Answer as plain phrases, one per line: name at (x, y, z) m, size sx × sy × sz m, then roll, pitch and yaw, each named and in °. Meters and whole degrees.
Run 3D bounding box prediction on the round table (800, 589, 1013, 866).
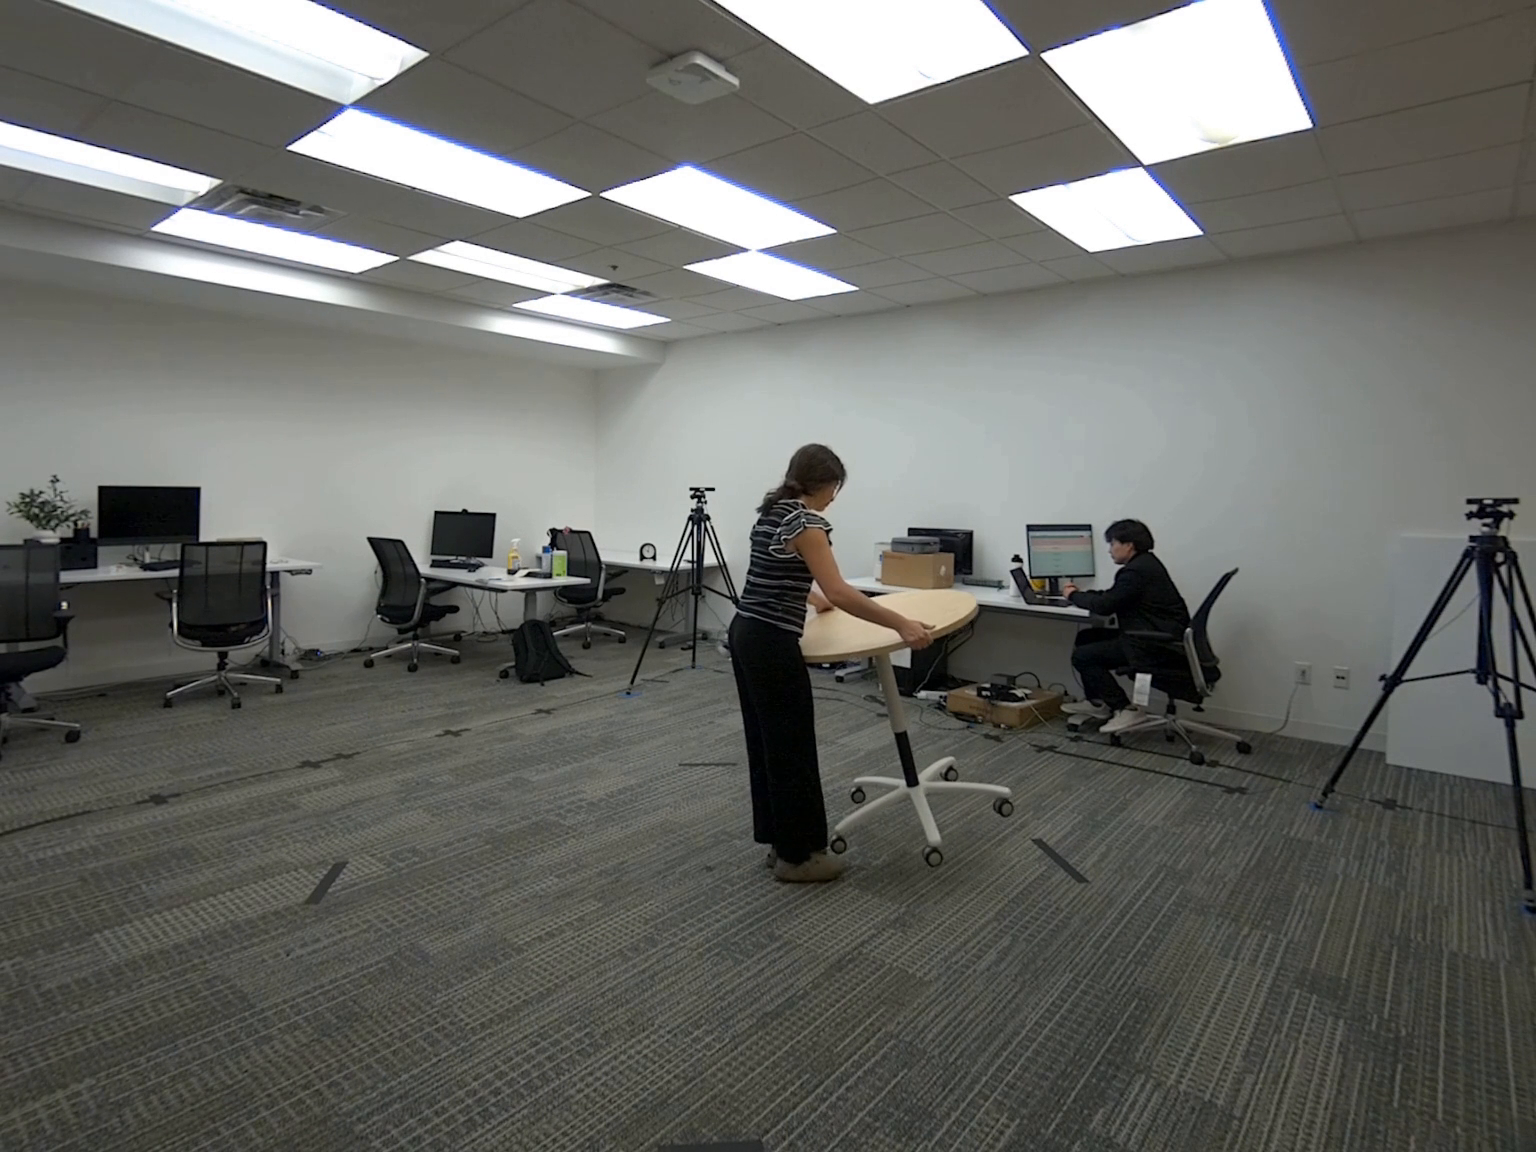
round table at (0.492, 0.555, 3.231) m, size 0.764 × 0.788 × 0.770 m, roll -14°, pitch 8°, yaw 0°
